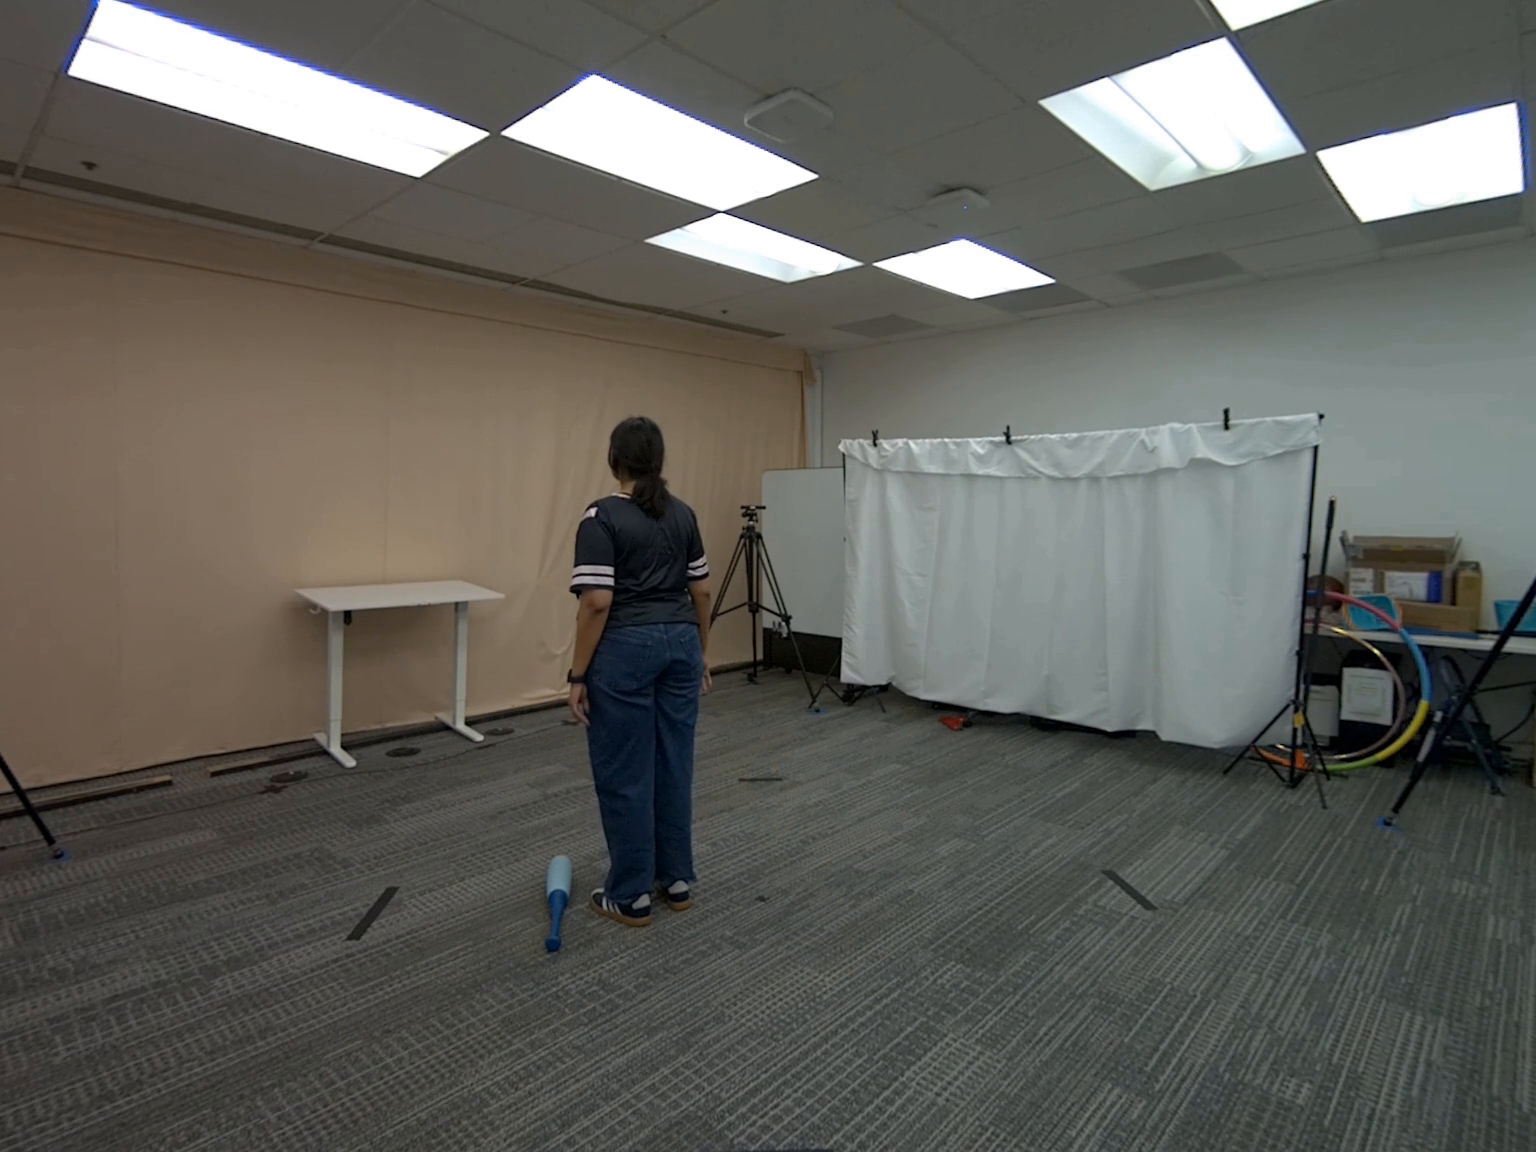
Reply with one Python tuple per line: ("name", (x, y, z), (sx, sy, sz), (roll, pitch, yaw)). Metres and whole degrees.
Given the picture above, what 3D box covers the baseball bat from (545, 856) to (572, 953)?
("baseball bat", (-0.710, 1.123, 2.889), (0.088, 0.089, 0.551), (-1, 7, -11))
